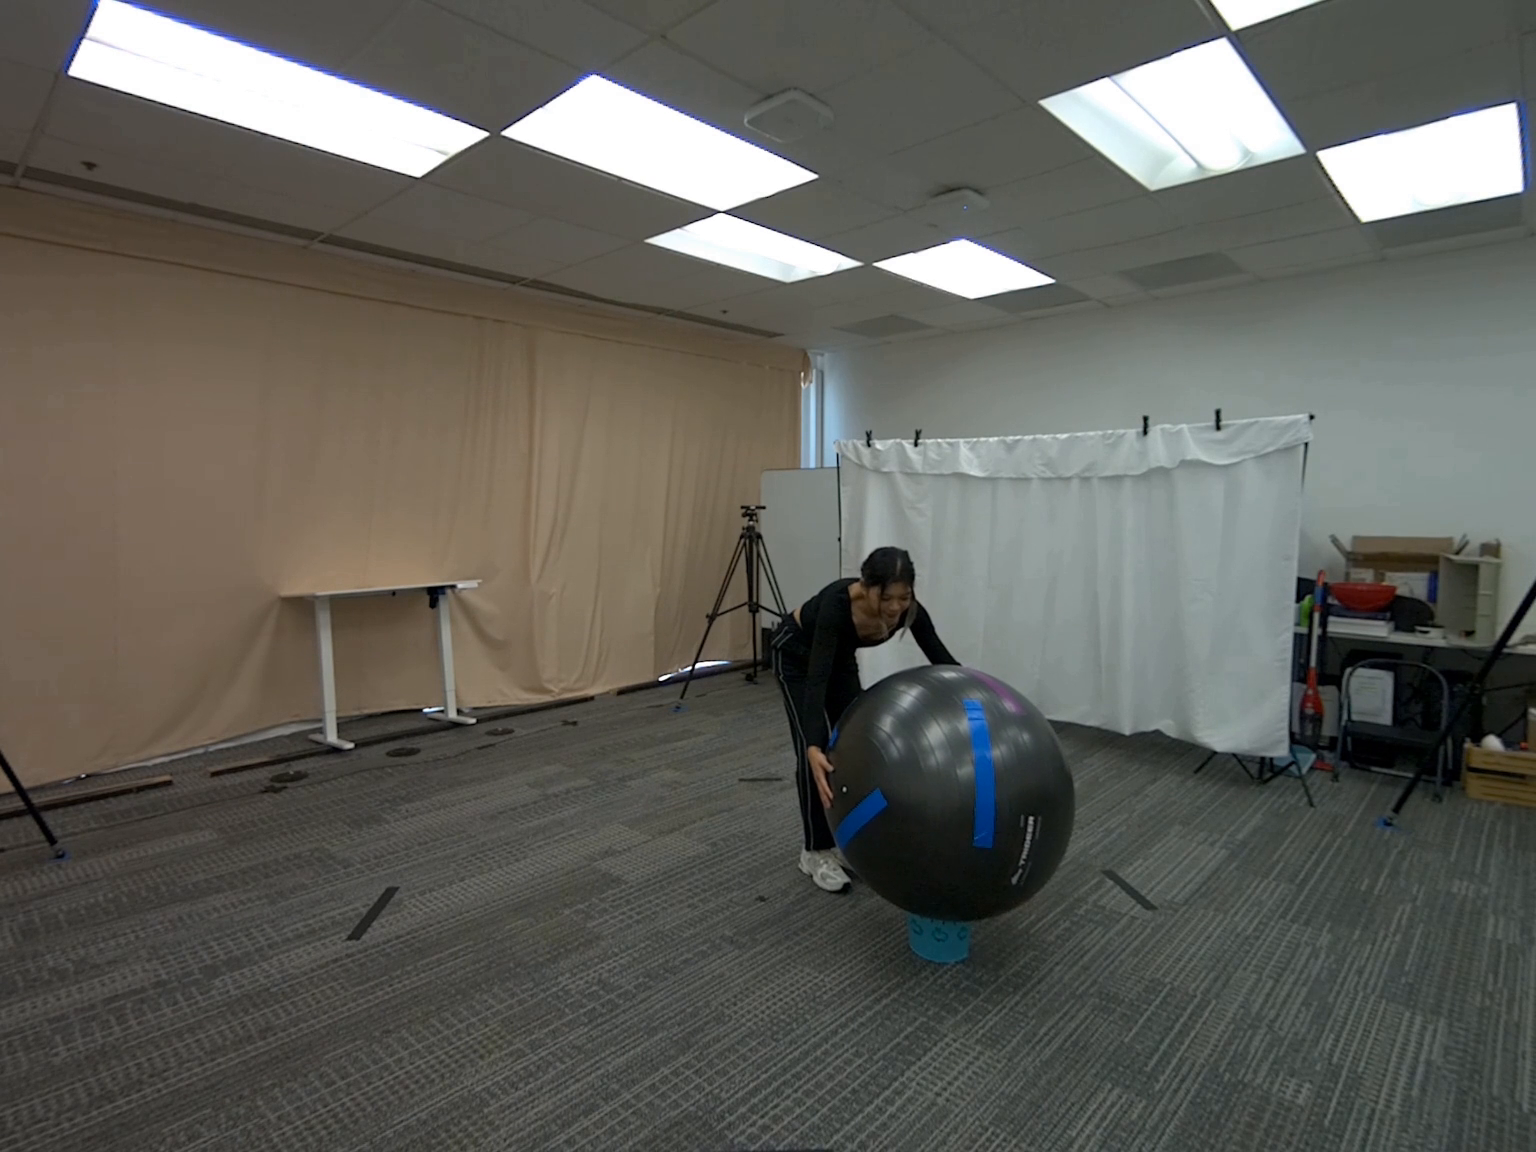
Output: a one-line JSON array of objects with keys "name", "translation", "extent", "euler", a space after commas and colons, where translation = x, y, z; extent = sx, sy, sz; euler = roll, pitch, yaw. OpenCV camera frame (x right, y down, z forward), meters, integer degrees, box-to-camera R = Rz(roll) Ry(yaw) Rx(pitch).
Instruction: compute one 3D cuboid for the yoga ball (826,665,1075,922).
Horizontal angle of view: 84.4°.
[{"name": "yoga ball", "translation": [0.554, 0.662, 2.612], "extent": [0.757, 0.756, 0.760], "euler": [0, 4, -2]}]
